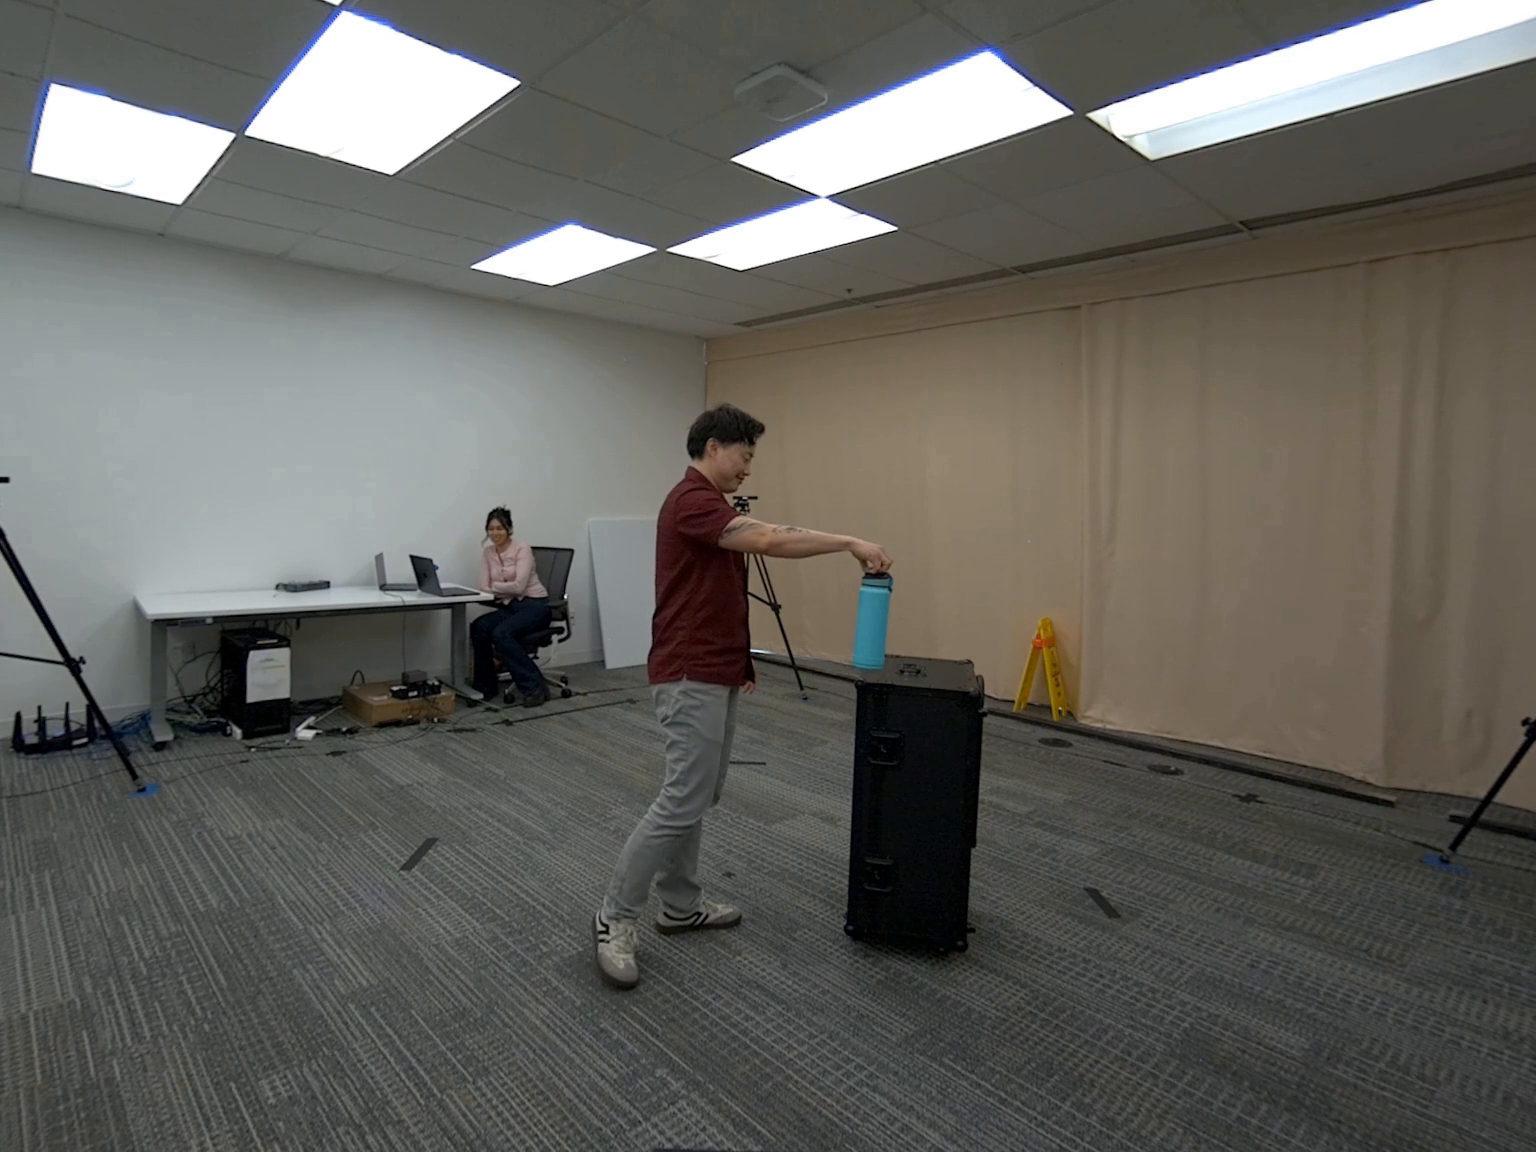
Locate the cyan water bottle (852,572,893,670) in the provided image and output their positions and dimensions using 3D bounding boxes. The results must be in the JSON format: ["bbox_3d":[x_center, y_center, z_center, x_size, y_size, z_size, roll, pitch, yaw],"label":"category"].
[{"bbox_3d":[0.288,0.118,2.382,0.092,0.283,0.093,6,4,-2],"label":"cyan water bottle"}]
